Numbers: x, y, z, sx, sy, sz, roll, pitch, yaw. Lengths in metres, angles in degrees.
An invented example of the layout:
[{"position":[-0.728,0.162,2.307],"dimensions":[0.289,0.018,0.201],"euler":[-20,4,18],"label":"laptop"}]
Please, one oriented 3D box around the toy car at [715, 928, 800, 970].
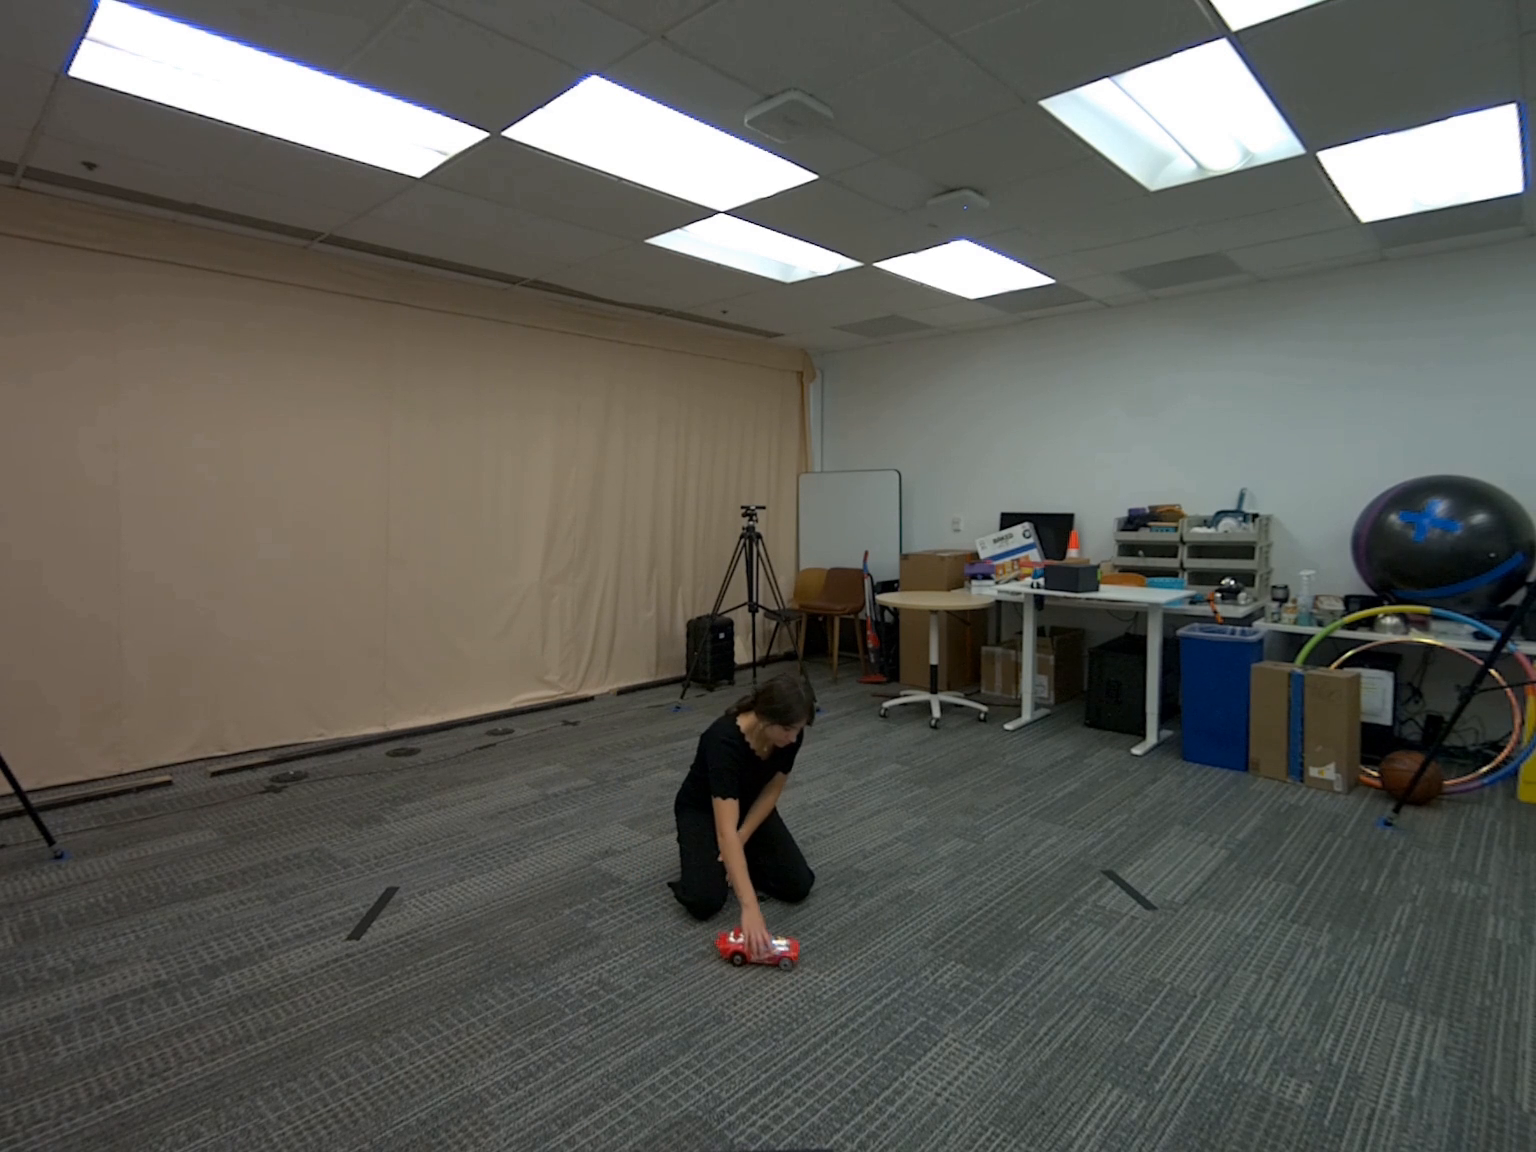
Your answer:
[{"position":[-0.041,1.140,2.593],"dimensions":[0.257,0.083,0.129],"euler":[12,7,8],"label":"toy car"}]
